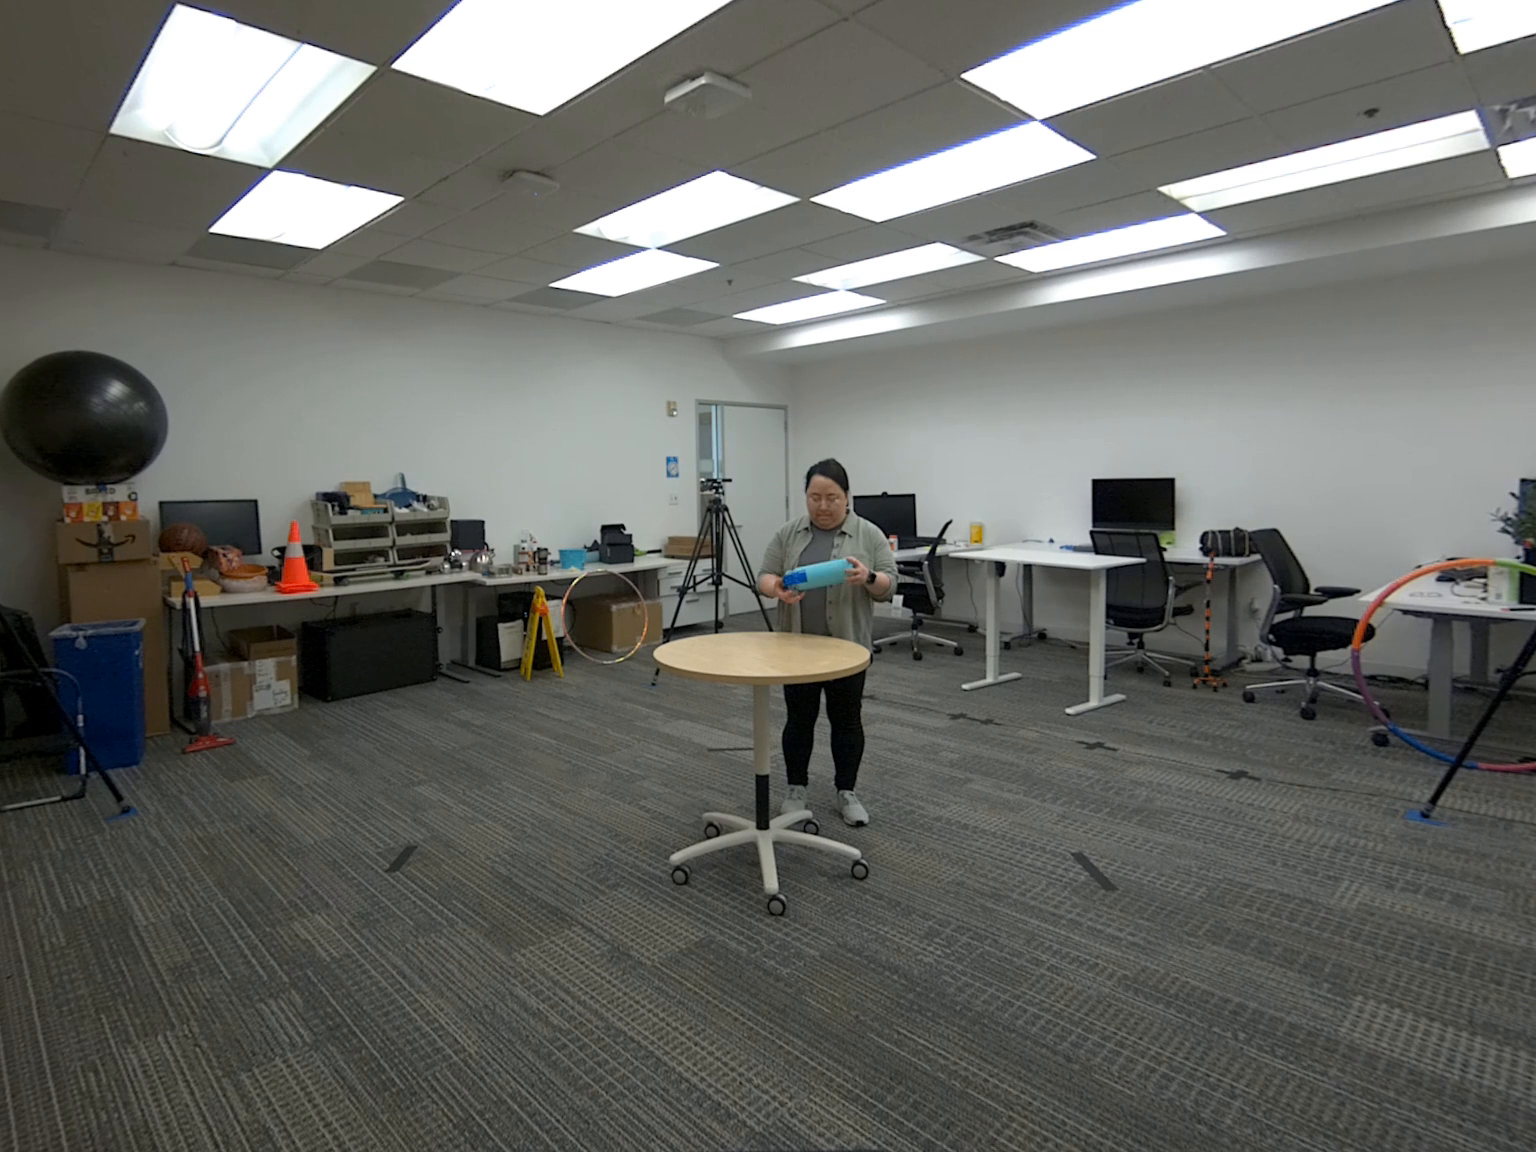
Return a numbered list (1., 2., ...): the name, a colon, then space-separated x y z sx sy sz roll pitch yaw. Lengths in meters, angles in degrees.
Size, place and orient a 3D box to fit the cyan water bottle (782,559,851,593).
1. cyan water bottle: 0.185 0.003 3.269 0.287 0.092 0.091 -8 3 14
